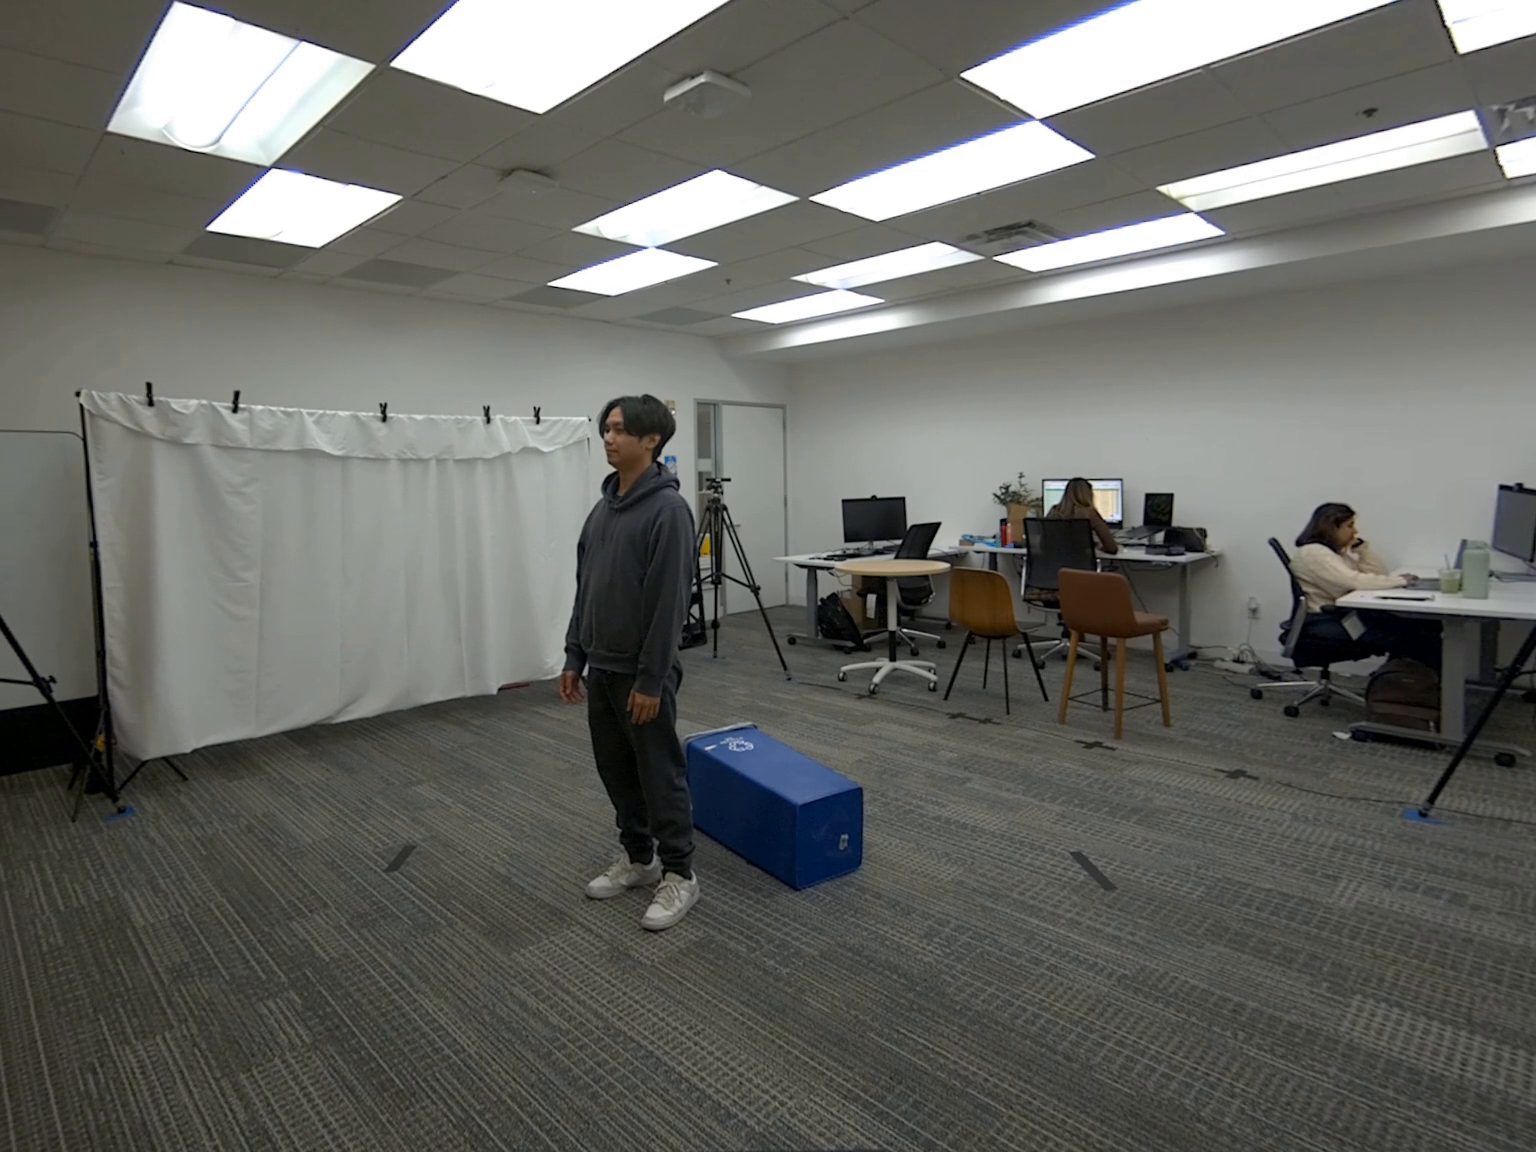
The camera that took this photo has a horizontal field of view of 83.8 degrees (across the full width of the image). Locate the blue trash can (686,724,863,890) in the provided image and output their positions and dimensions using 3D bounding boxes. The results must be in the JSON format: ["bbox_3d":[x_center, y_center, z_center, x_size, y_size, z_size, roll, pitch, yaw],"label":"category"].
[{"bbox_3d":[0.013,0.857,3.249,0.365,0.375,0.736,-5,10,-35],"label":"blue trash can"}]
